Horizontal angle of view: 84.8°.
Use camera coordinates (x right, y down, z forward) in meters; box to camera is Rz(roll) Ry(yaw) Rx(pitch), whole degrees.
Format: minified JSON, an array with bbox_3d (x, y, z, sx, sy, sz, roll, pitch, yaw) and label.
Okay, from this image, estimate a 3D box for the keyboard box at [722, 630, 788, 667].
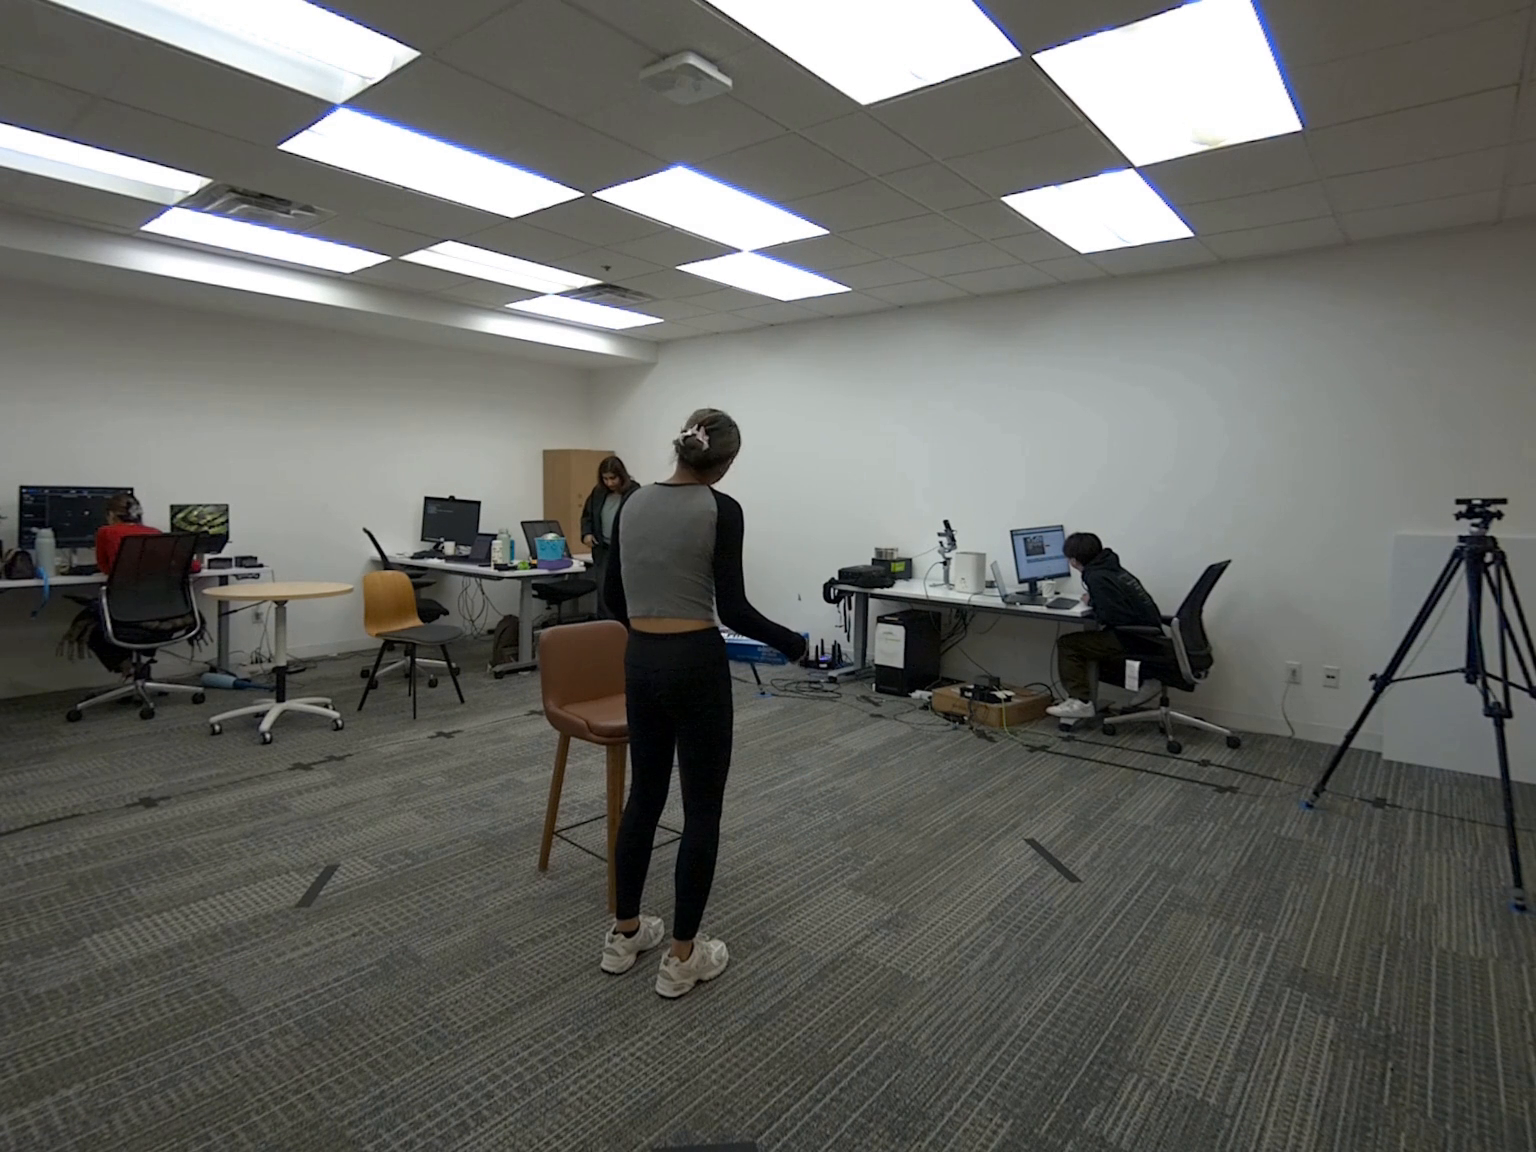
[{"bbox_3d":[-0.116,0.209,2.651,0.450,0.058,0.172,2,11,33],"label":"keyboard box"}]
